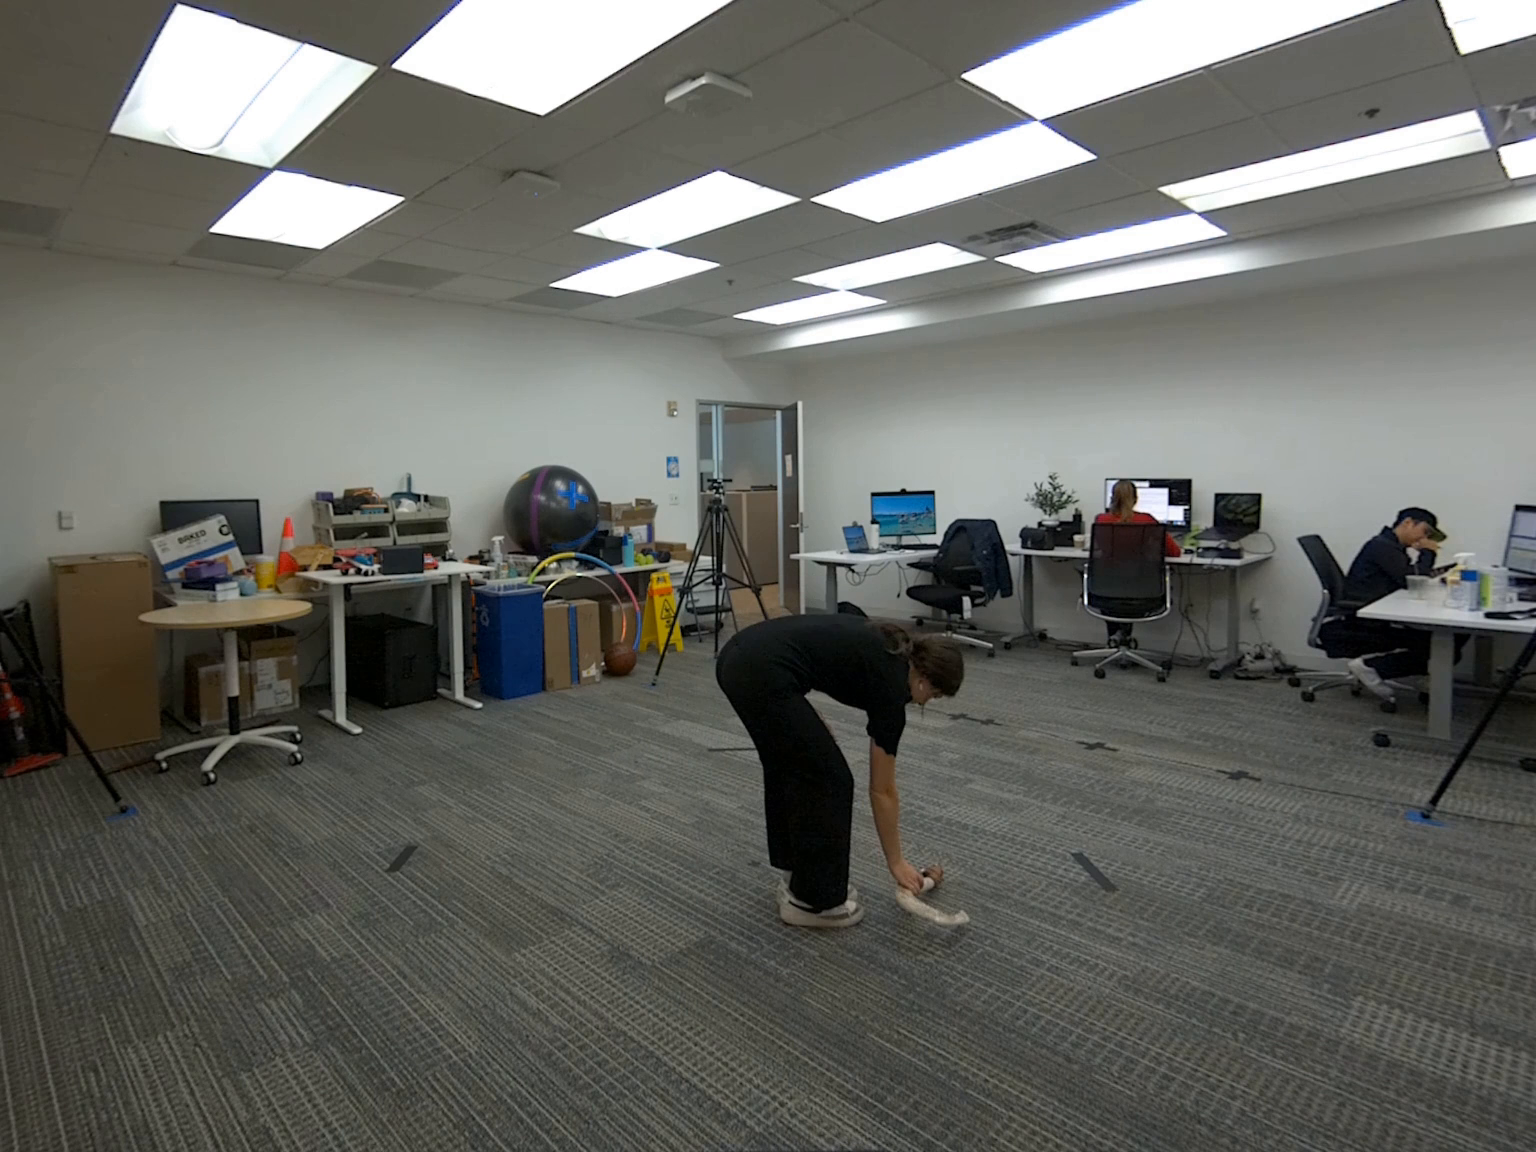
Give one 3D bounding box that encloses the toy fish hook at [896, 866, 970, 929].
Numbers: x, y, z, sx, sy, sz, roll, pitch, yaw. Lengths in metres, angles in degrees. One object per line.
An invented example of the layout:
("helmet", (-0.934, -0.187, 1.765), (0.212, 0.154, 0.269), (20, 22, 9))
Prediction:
("toy fish hook", (0.558, 1.028, 2.748), (0.231, 0.048, 0.494), (24, 5, 21))
